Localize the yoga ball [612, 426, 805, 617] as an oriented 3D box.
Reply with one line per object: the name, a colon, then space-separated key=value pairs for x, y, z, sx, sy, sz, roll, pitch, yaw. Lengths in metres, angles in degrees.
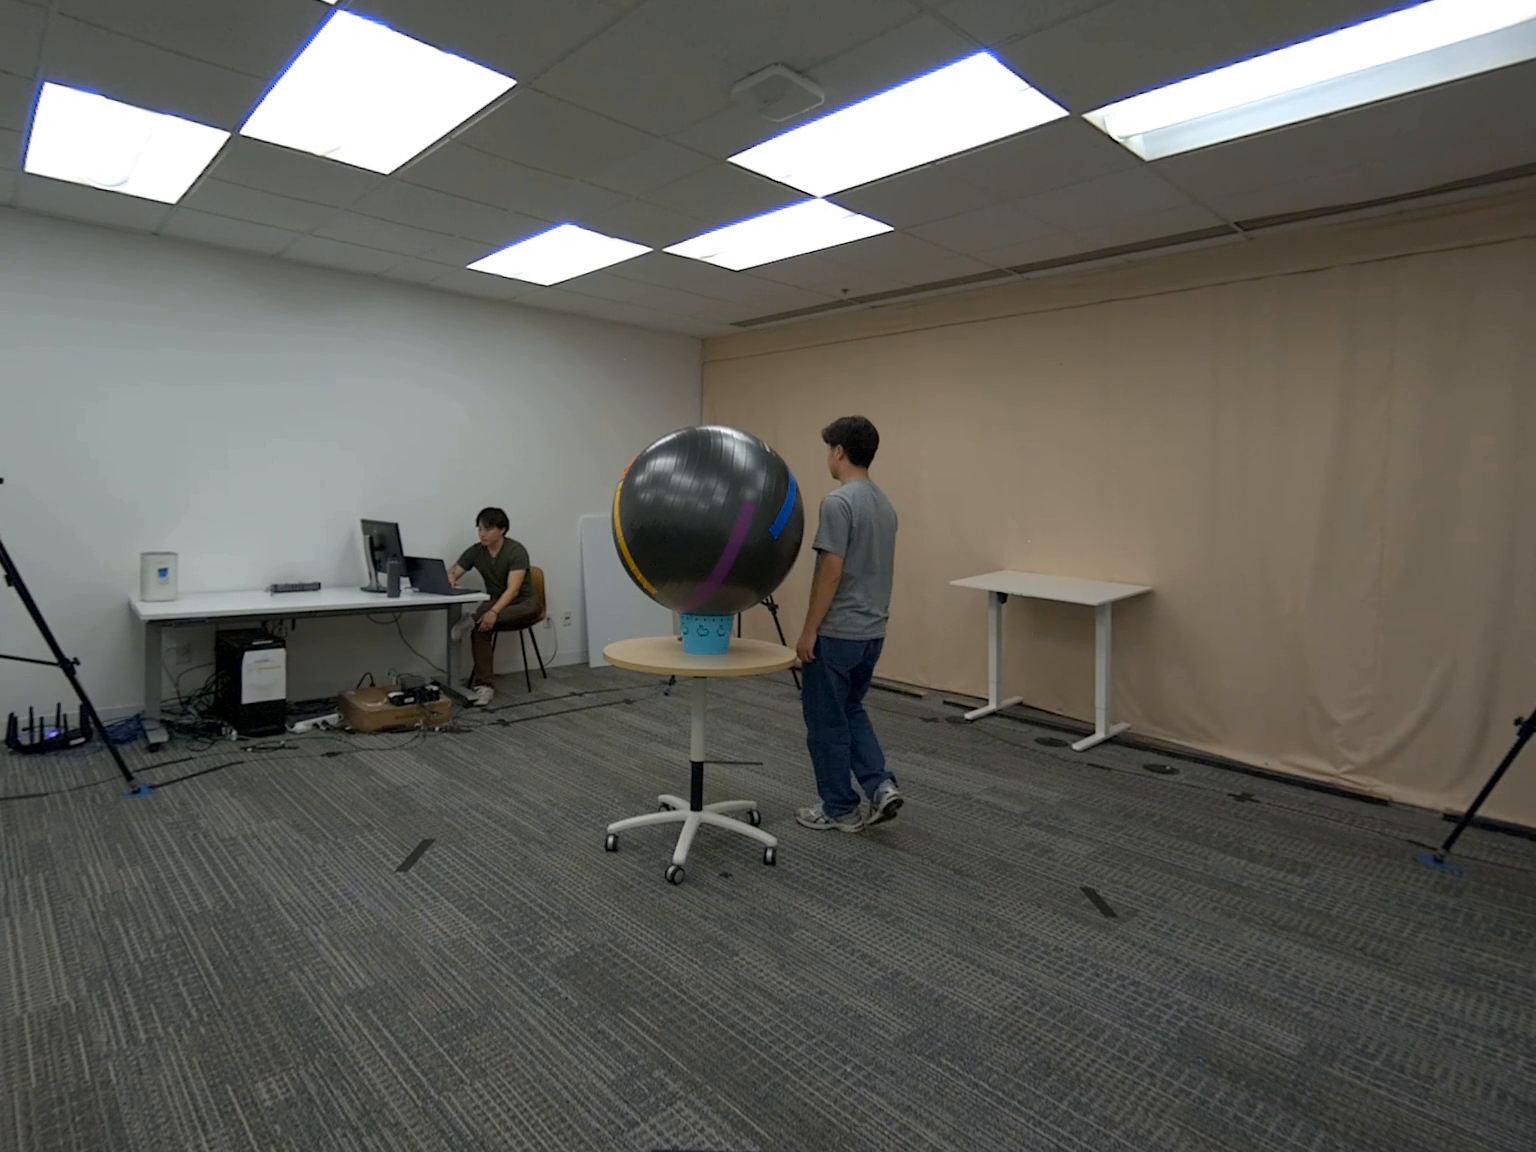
yoga ball: x=-0.242 y=-0.214 z=3.328 sx=0.757 sy=0.756 sz=0.761 roll=1 pitch=4 yaw=-1
